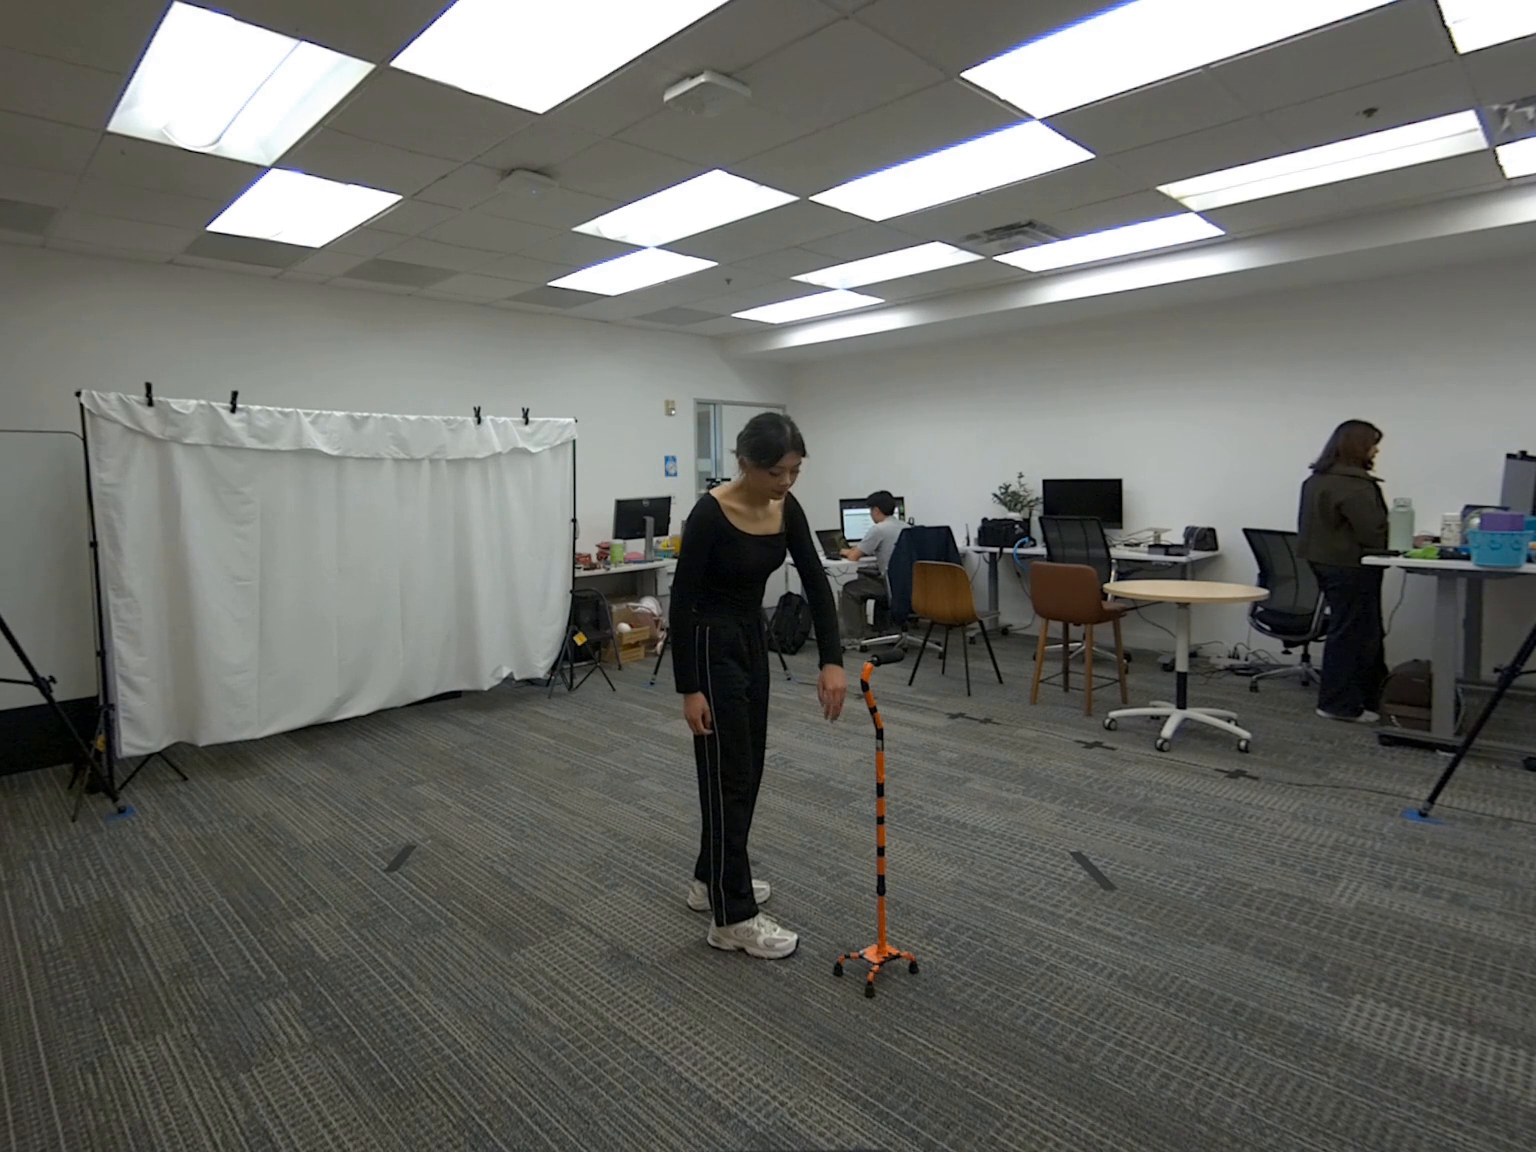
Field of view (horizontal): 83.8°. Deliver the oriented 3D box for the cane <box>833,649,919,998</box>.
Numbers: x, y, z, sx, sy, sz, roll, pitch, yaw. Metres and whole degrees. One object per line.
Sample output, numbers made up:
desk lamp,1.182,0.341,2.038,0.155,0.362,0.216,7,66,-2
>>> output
cane,0.304,0.667,2.380,0.201,0.904,0.156,-4,5,-38
